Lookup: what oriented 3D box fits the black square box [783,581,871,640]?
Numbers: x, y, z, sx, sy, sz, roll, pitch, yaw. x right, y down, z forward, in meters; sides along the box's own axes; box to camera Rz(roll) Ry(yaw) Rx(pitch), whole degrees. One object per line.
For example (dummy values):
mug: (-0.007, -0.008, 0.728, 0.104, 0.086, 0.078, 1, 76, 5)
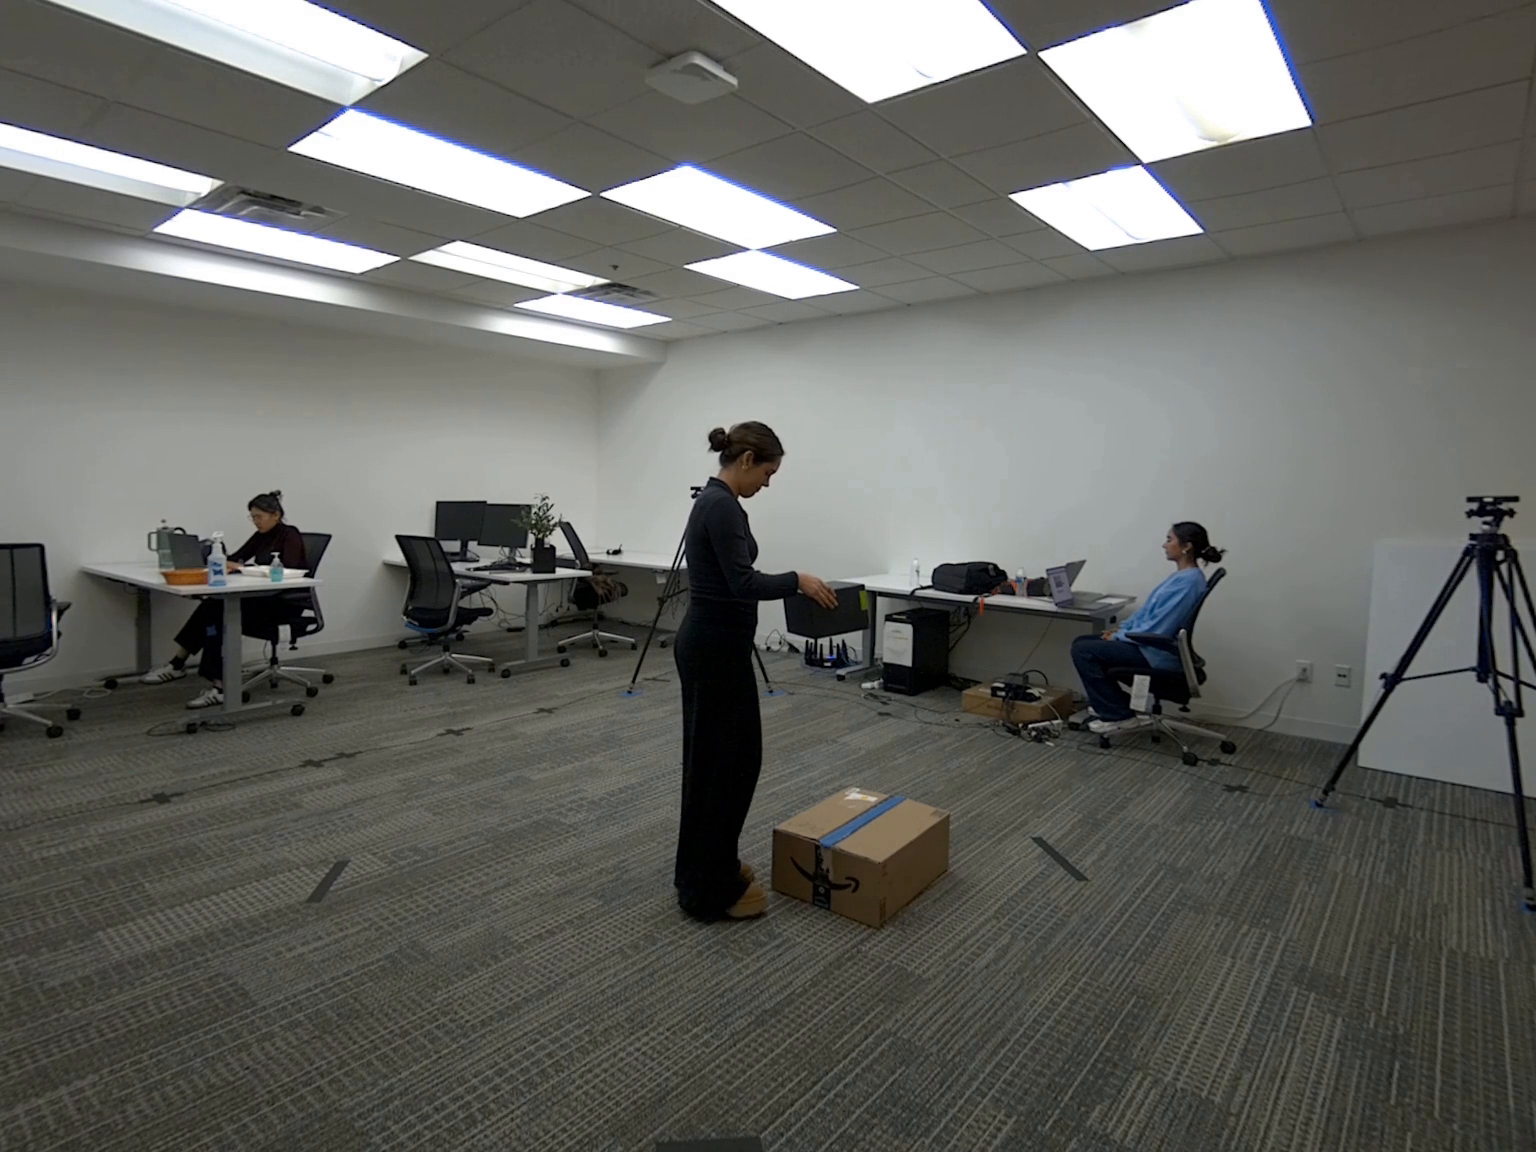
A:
black square box: (0.195, 0.111, 2.959, 0.213, 0.155, 0.233, -8, 4, -20)
